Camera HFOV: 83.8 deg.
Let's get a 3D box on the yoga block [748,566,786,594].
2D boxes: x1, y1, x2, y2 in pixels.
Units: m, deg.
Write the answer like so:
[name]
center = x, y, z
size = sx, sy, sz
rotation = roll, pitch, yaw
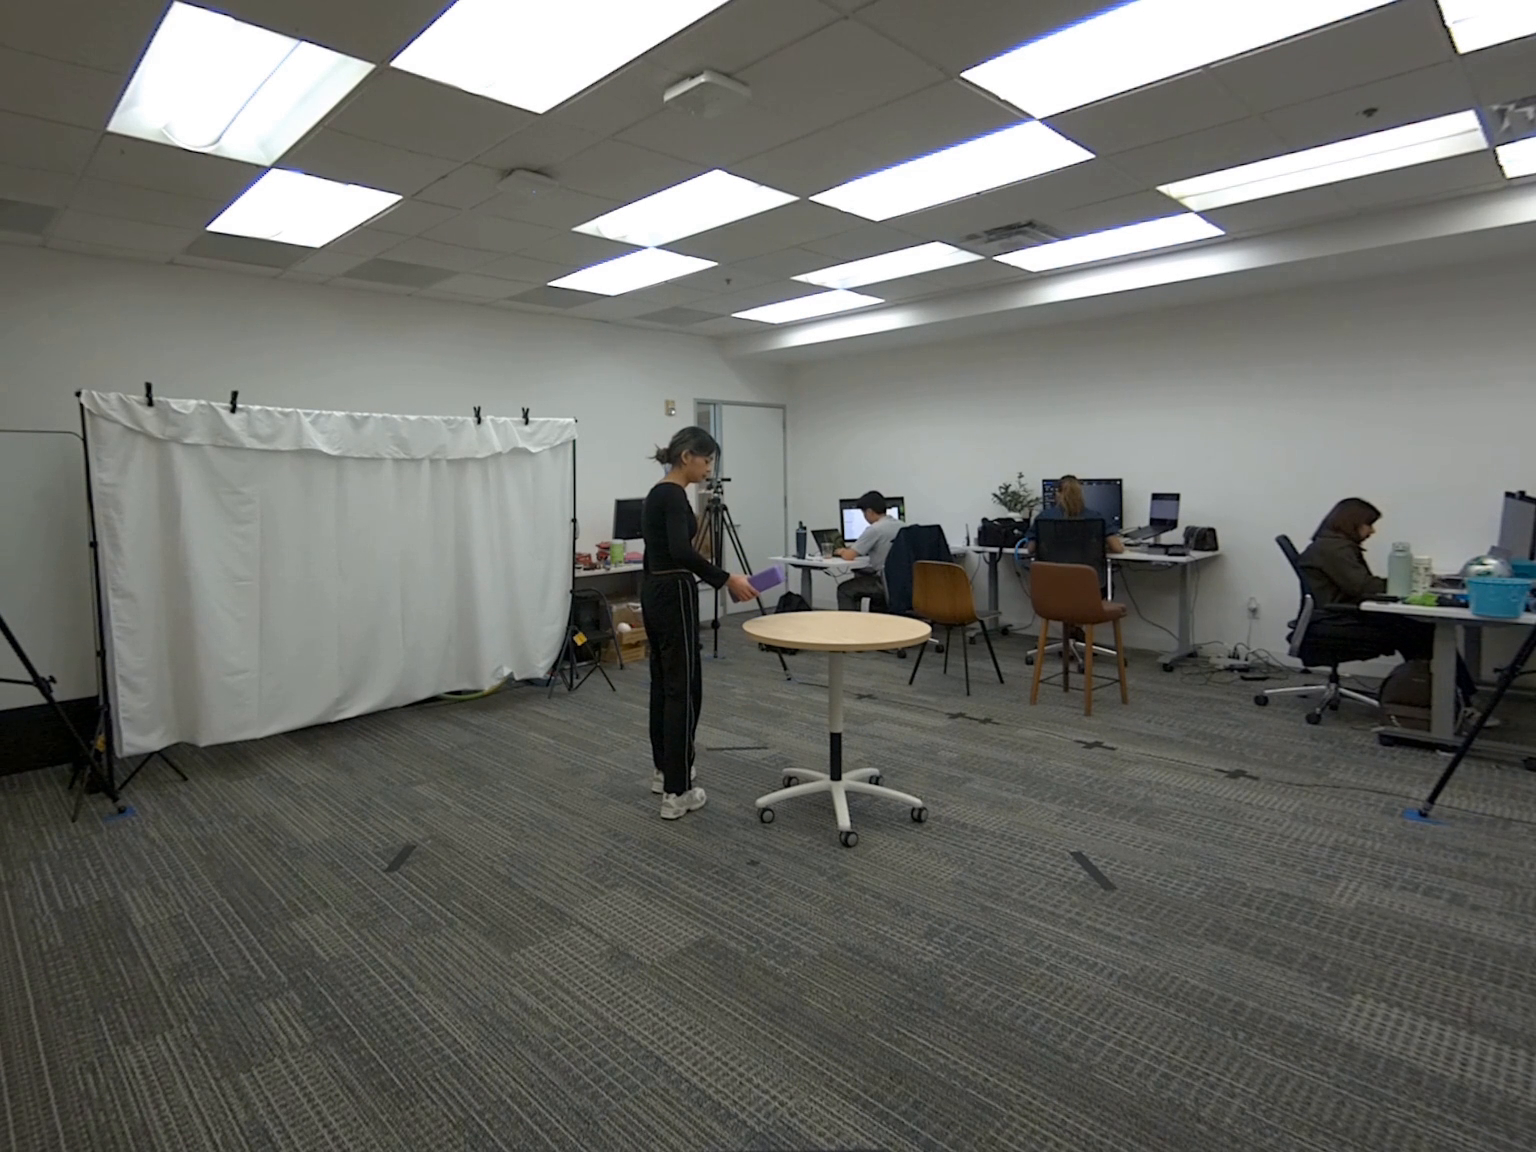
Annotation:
[yoga block]
center = -0.051, 0.028, 3.642
size = 0.231, 0.076, 0.148
rotation = -21, 2, 11
